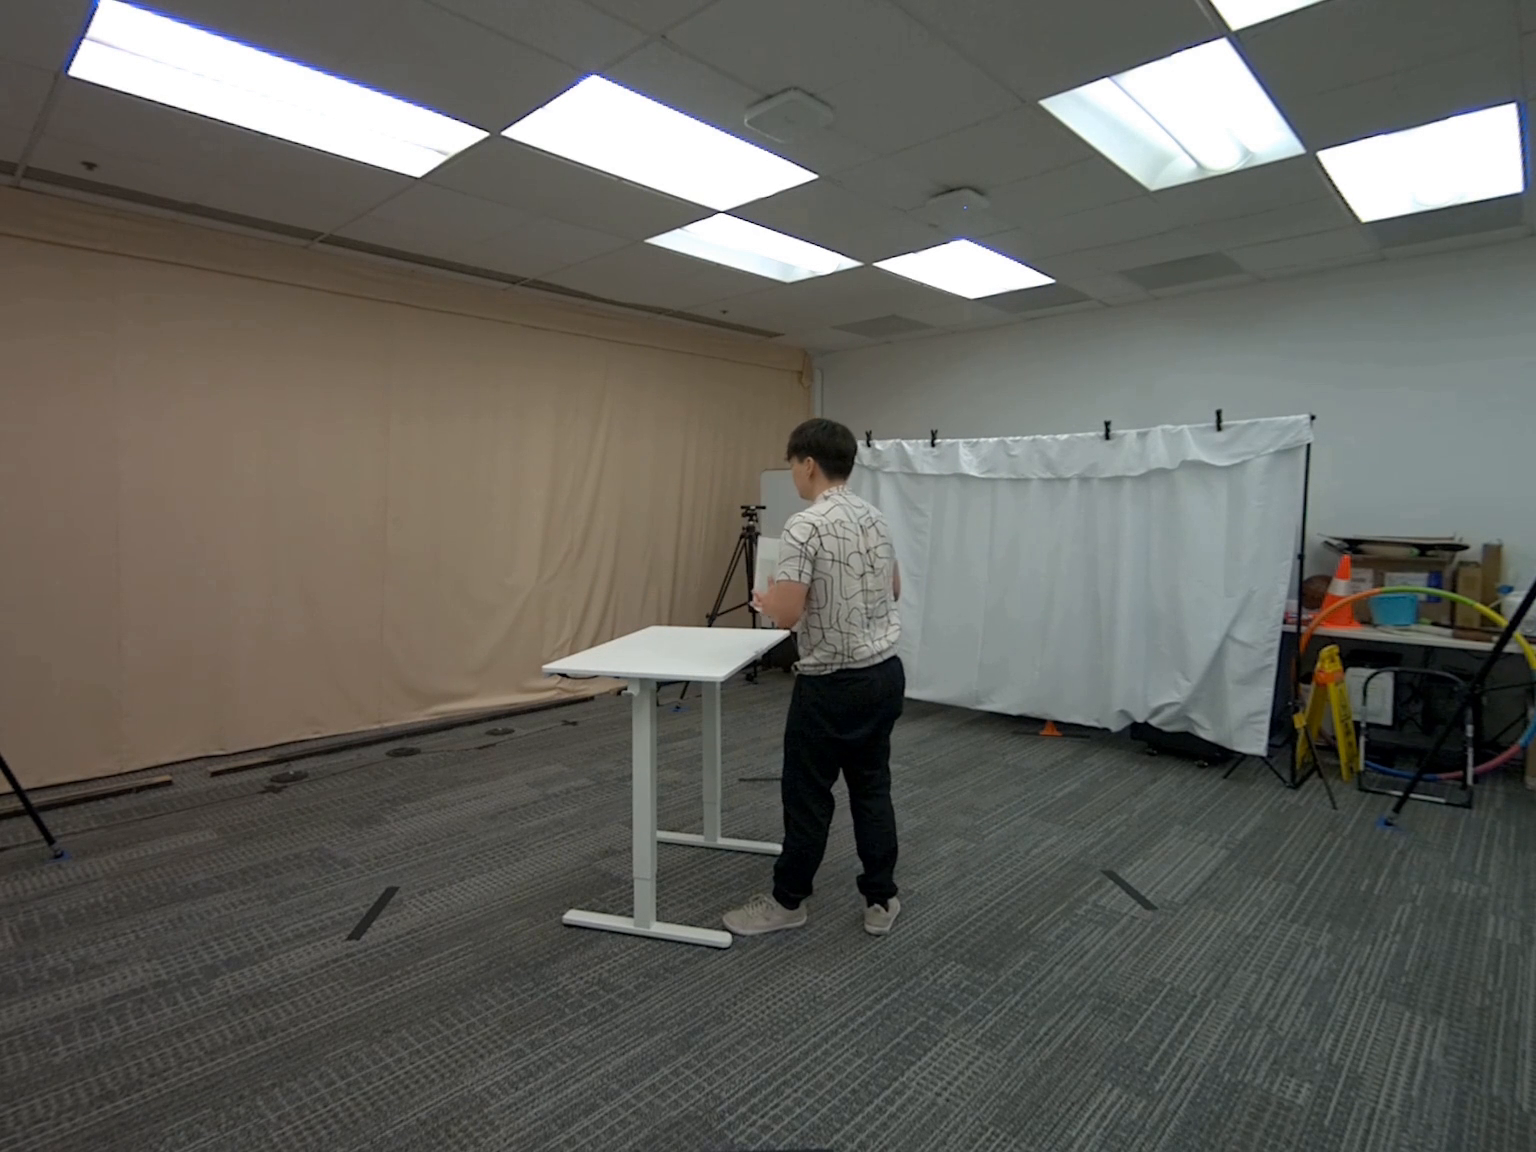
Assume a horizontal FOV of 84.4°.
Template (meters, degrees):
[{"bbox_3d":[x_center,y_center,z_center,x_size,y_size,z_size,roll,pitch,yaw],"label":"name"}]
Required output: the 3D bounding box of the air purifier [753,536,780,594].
[{"bbox_3d":[0.059,-0.005,2.925,0.166,0.265,0.177,0,6,-41],"label":"air purifier"}]
